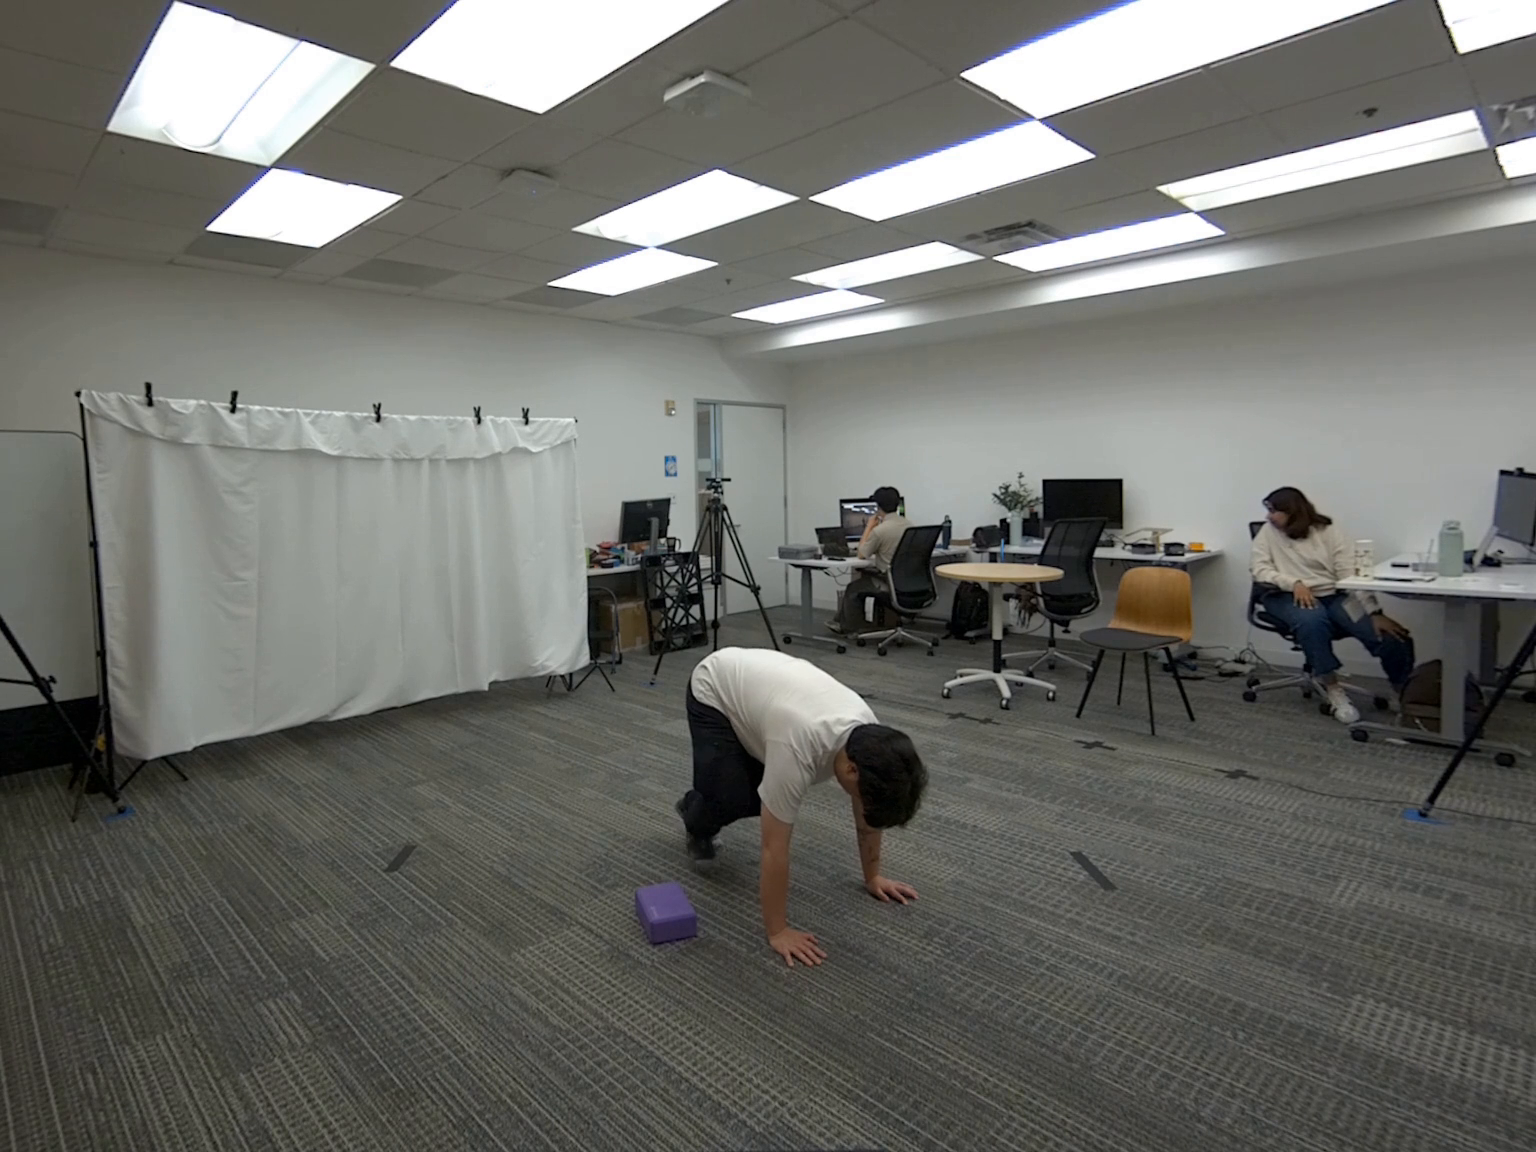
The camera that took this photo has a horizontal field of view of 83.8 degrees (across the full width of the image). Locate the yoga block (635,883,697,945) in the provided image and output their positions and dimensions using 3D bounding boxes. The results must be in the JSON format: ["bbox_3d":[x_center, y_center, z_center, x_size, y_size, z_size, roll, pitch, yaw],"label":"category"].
[{"bbox_3d":[-0.321,1.054,2.694,0.146,0.076,0.234,-2,7,-19],"label":"yoga block"}]
